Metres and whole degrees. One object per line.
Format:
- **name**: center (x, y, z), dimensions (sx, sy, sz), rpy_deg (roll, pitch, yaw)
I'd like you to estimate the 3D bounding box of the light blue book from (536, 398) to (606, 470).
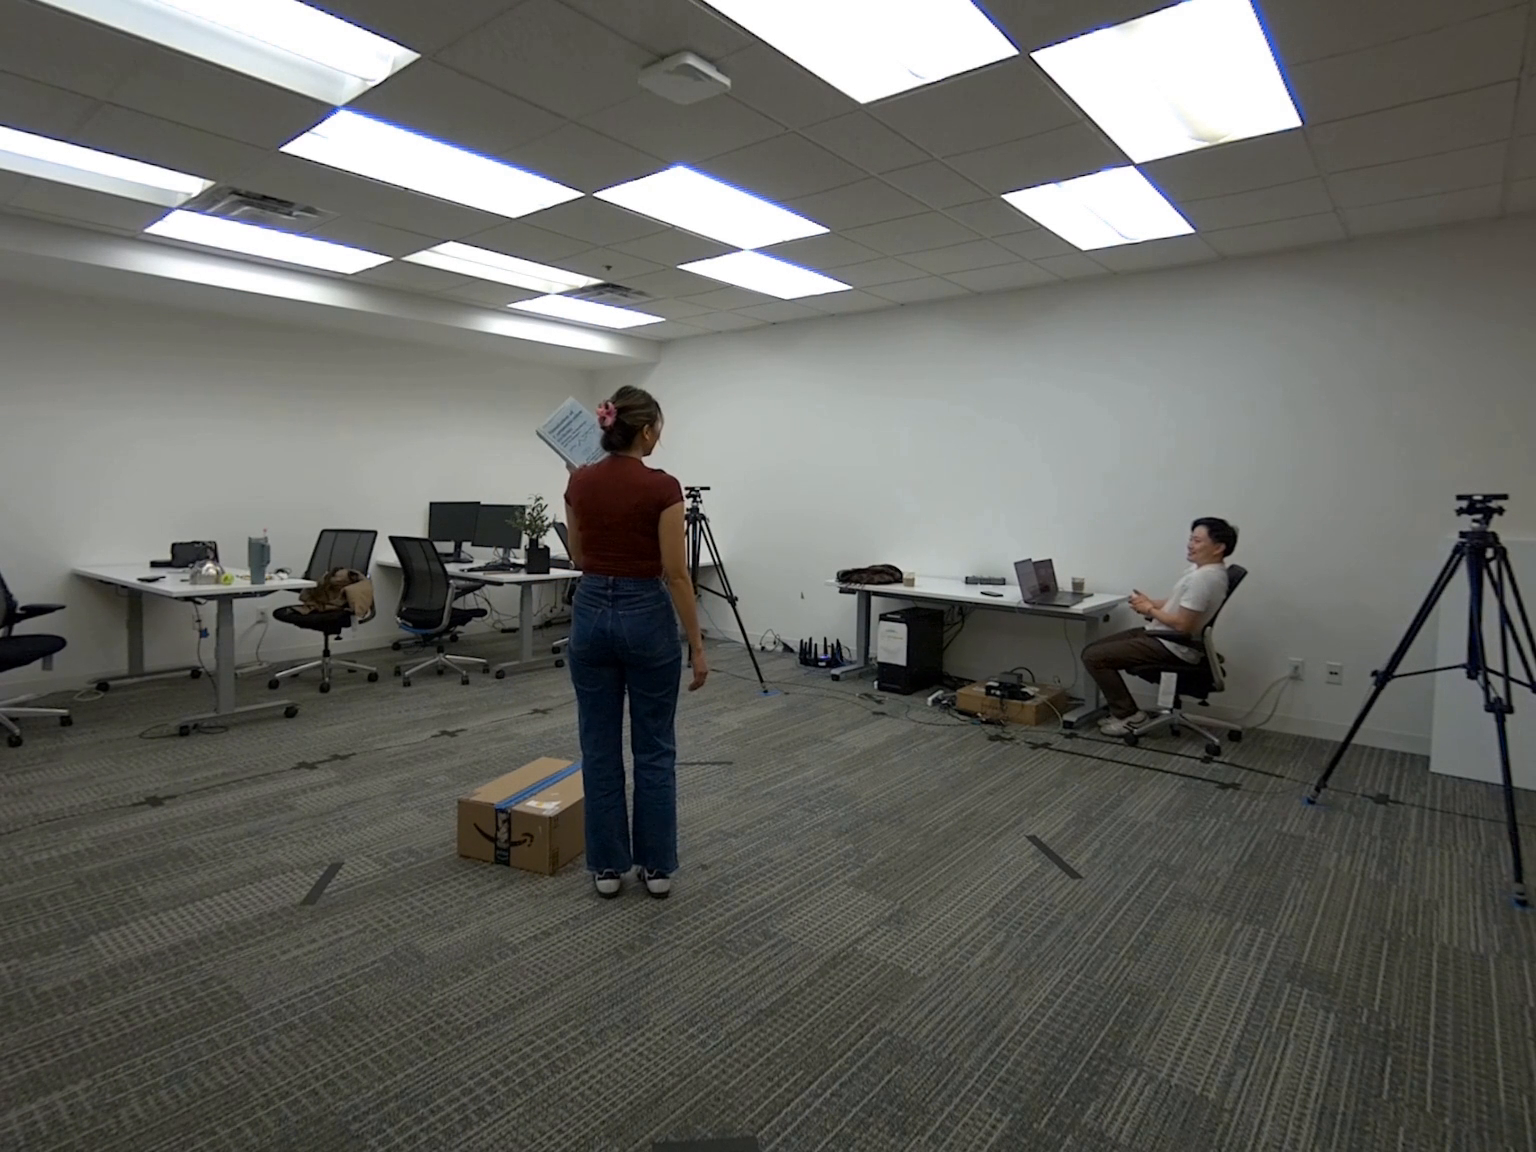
- **light blue book**: center (-0.719, -0.515, 3.184), dimensions (0.191, 0.263, 0.059), rpy_deg (-45, -5, -16)
